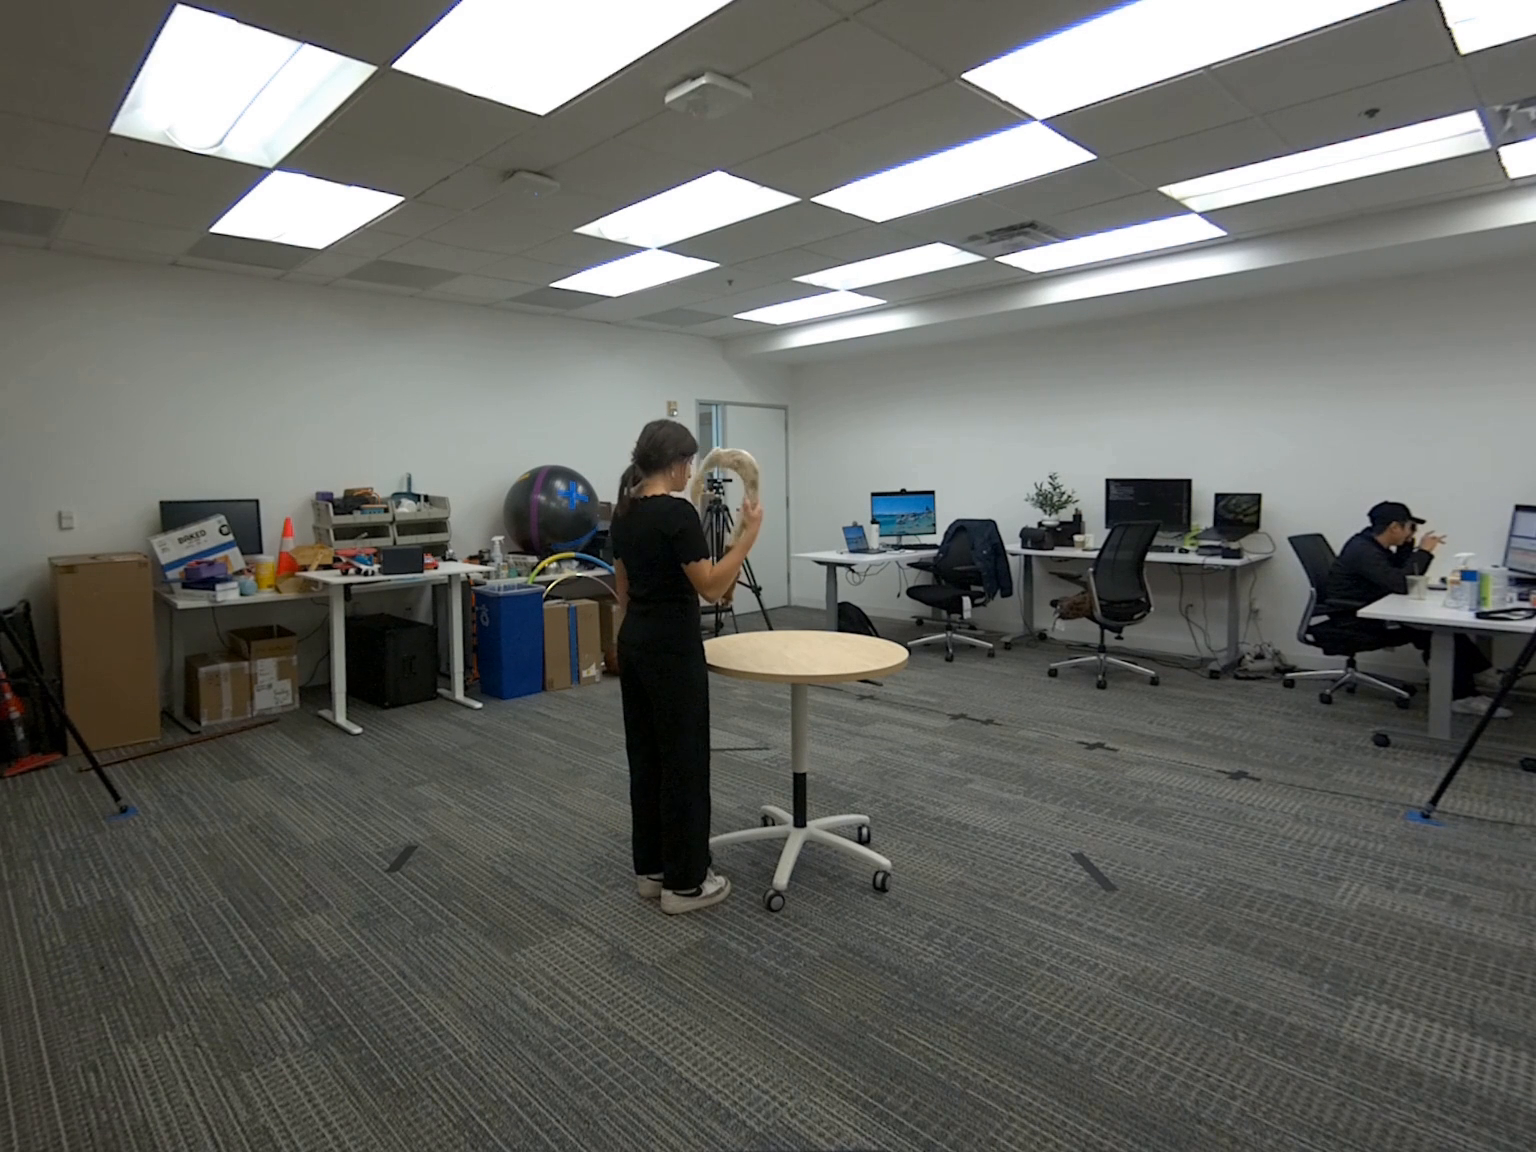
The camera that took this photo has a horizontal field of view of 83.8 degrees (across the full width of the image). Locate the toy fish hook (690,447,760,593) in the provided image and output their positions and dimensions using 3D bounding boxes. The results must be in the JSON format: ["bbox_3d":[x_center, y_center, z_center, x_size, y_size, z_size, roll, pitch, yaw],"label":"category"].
[{"bbox_3d":[-0.154,-0.140,2.728,0.222,0.504,0.049,5,6,-11],"label":"toy fish hook"}]
